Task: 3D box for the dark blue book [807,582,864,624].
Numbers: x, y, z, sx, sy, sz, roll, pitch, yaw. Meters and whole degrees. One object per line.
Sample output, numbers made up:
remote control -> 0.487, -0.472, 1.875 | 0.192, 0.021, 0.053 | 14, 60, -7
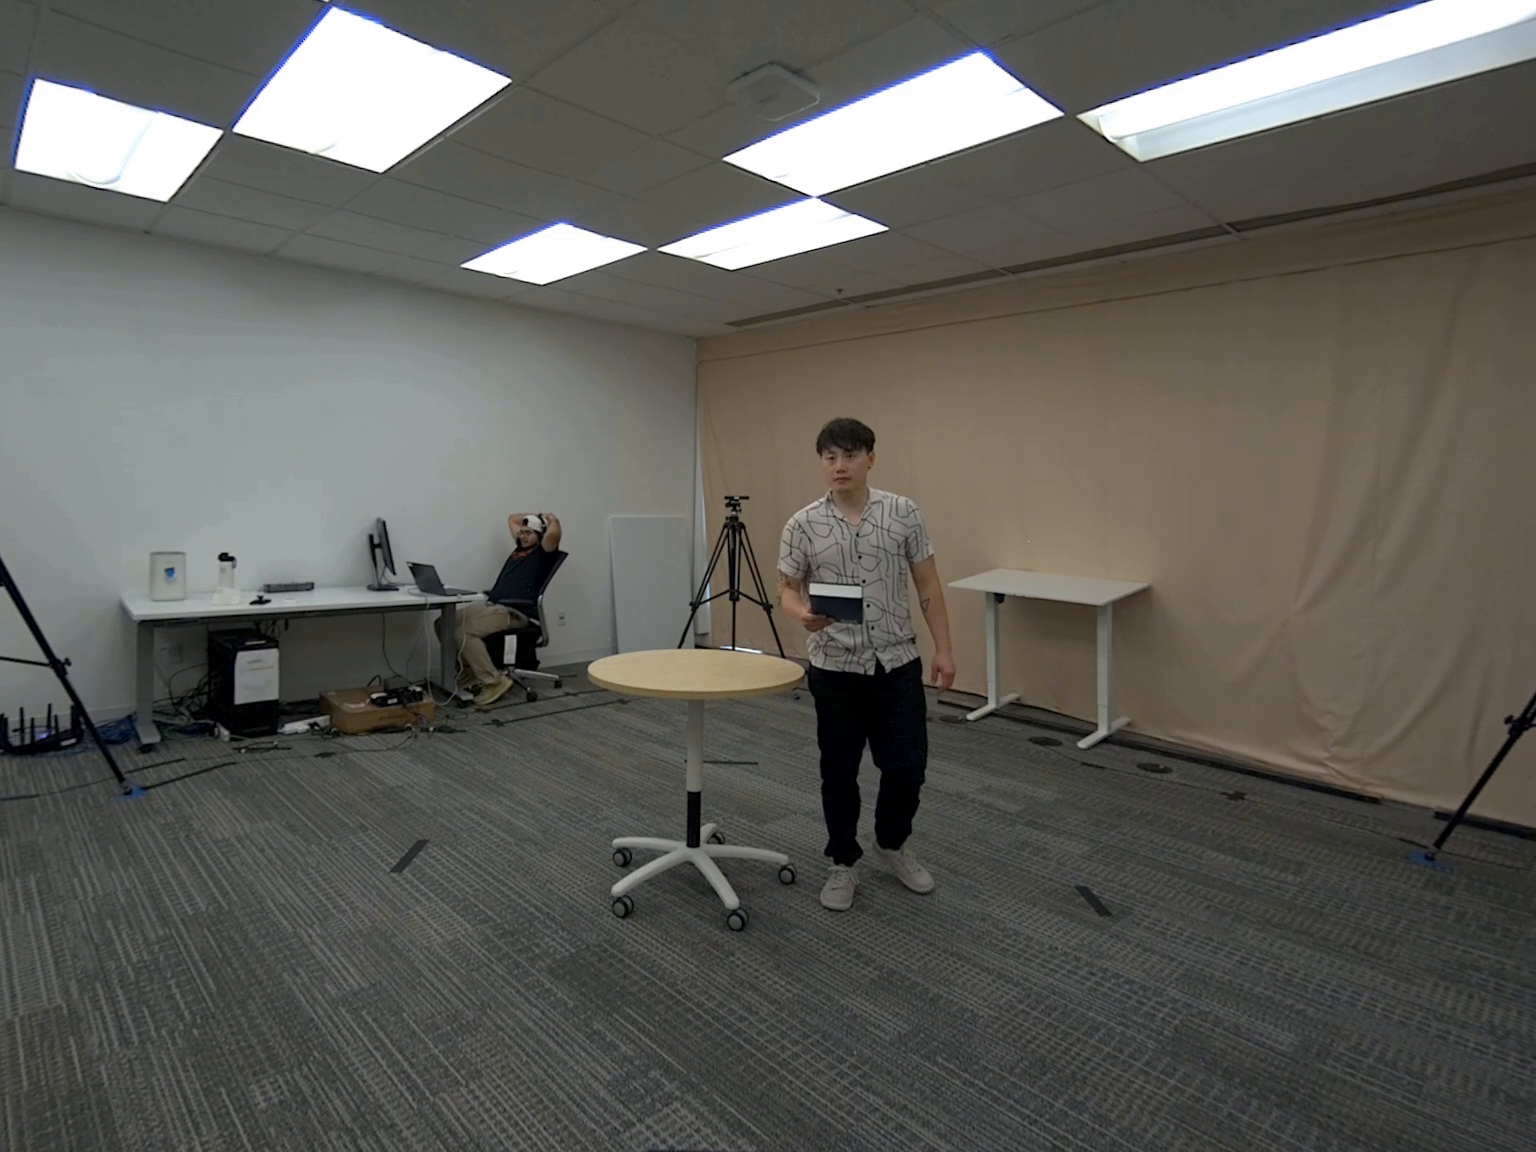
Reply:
dark blue book -> 0.204, 0.083, 2.600 | 0.165, 0.046, 0.240 | 3, -21, 10
